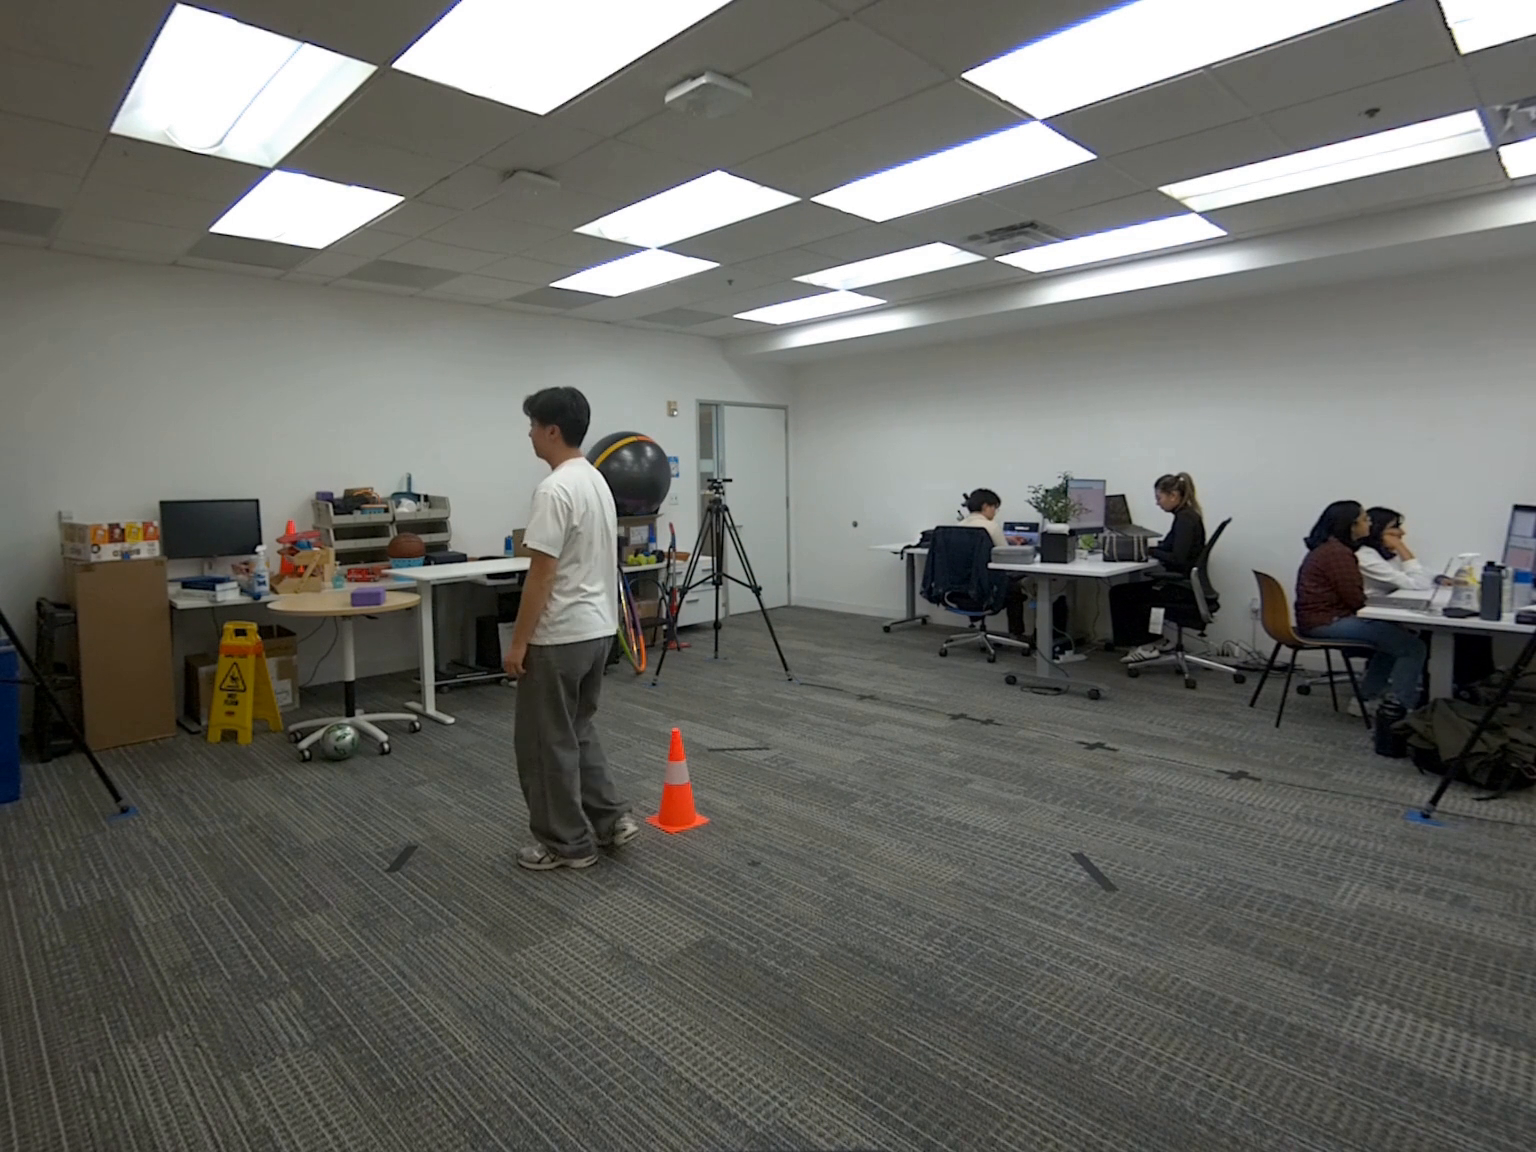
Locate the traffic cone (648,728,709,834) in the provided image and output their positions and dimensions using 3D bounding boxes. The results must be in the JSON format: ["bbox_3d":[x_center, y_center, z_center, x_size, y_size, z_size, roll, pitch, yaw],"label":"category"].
[{"bbox_3d":[-0.375,0.822,3.508,0.198,0.382,0.211,-4,5,-40],"label":"traffic cone"}]
